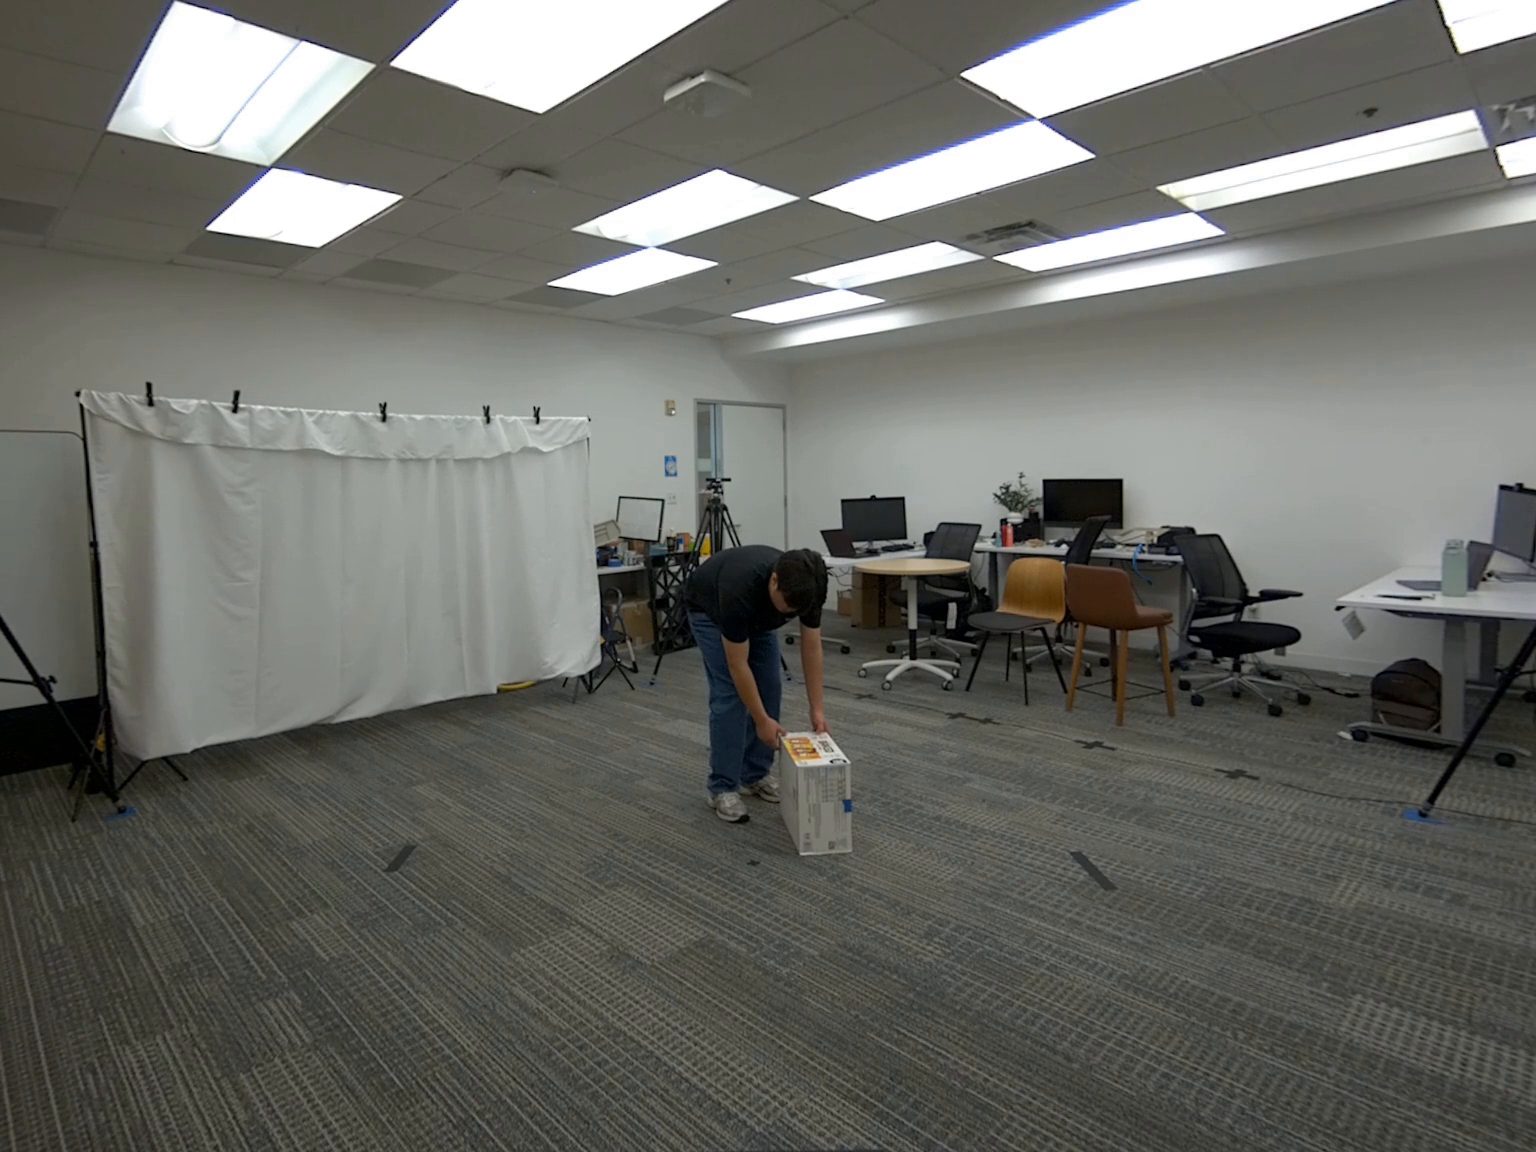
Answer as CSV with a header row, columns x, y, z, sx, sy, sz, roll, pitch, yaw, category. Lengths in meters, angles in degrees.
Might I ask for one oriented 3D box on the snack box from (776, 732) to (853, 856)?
x,y,z,sx,sy,sz,roll,pitch,yaw,category
0.187,0.843,3.357,0.204,0.339,0.409,-3,5,-8,snack box
